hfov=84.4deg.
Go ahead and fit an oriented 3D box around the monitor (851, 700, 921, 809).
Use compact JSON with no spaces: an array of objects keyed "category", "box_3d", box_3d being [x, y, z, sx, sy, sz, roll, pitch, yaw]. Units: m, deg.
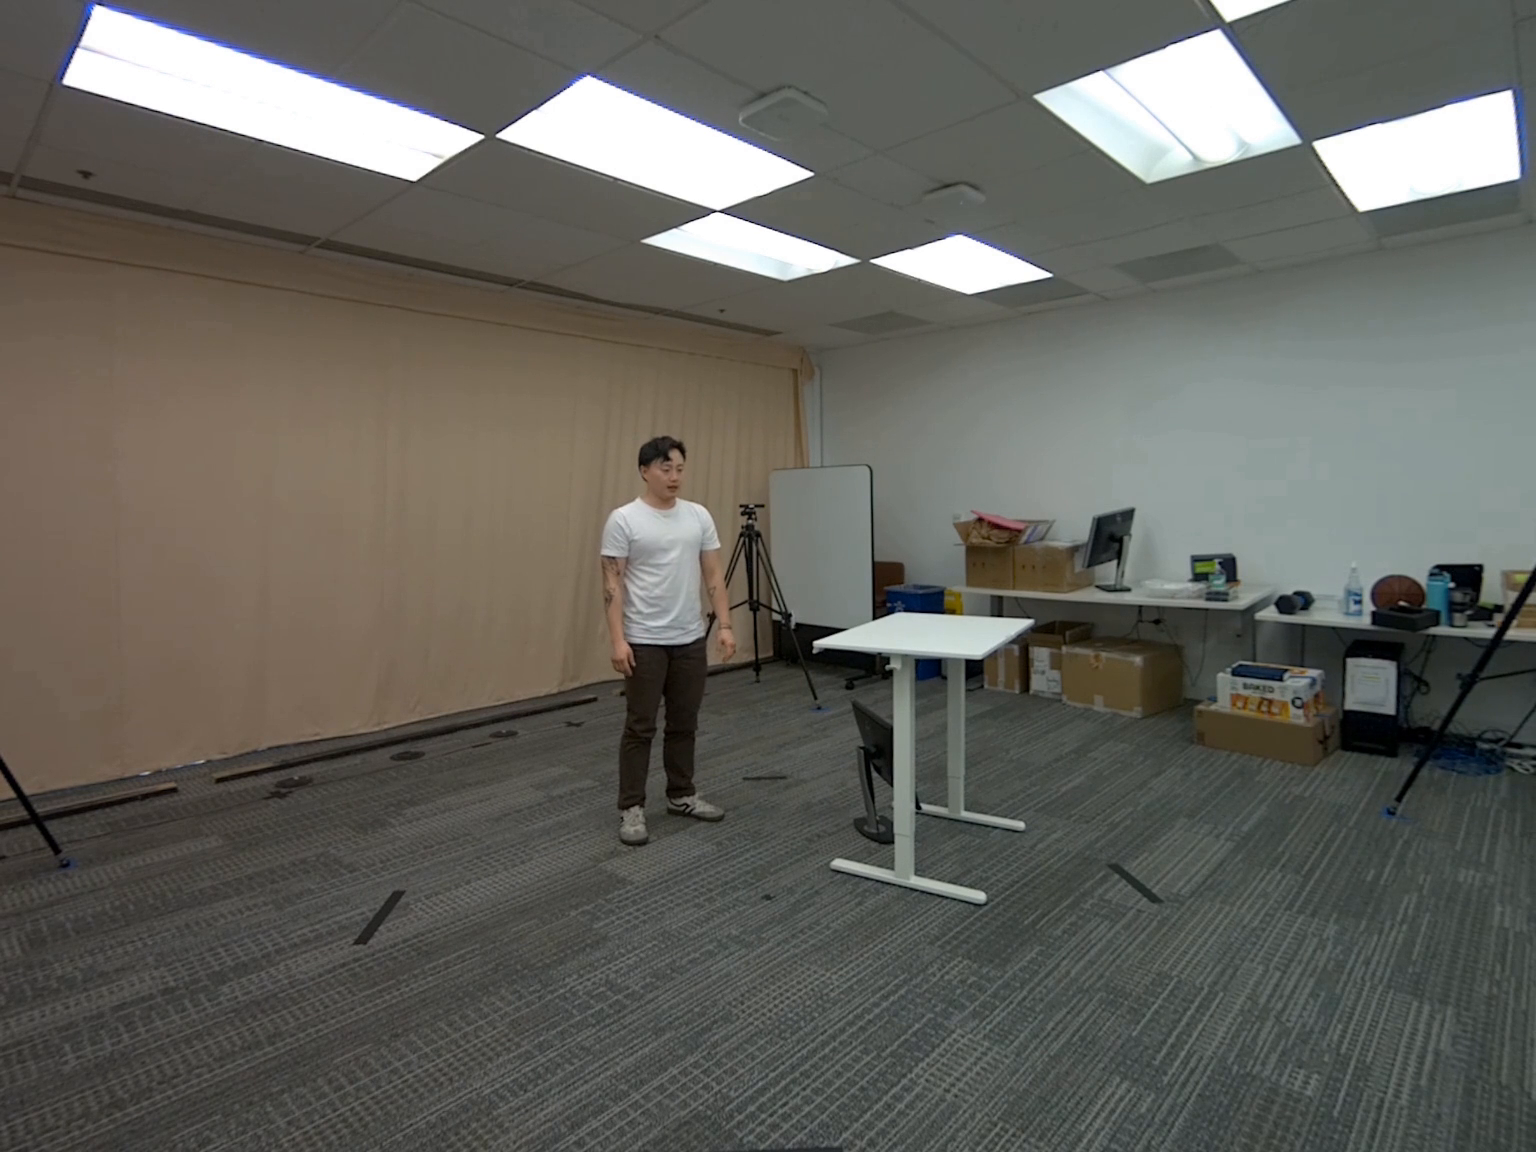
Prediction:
[{"category":"monitor","box_3d":[0.468,0.828,3.555,0.185,0.521,0.548,-3,5,-14]}]
